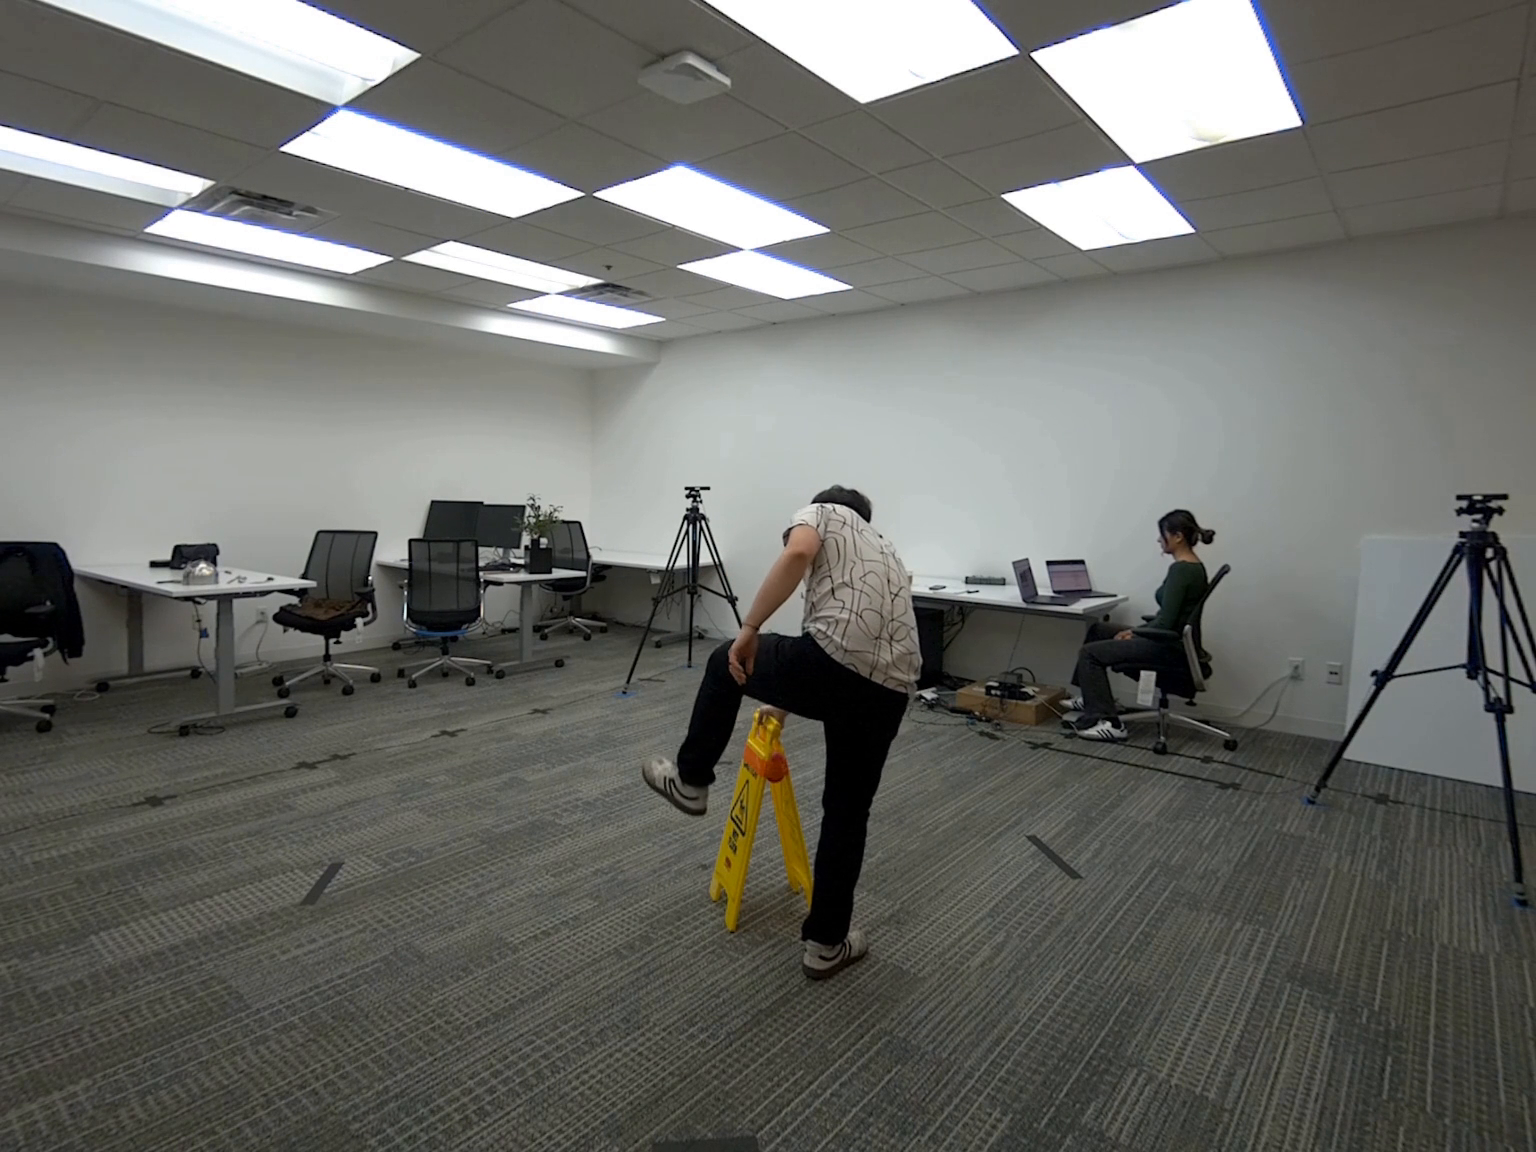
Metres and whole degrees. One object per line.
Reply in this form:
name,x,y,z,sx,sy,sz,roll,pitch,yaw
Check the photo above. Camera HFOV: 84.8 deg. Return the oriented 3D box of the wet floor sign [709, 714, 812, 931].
wet floor sign,-0.018,0.768,2.811,0.285,0.644,0.288,1,4,-17
